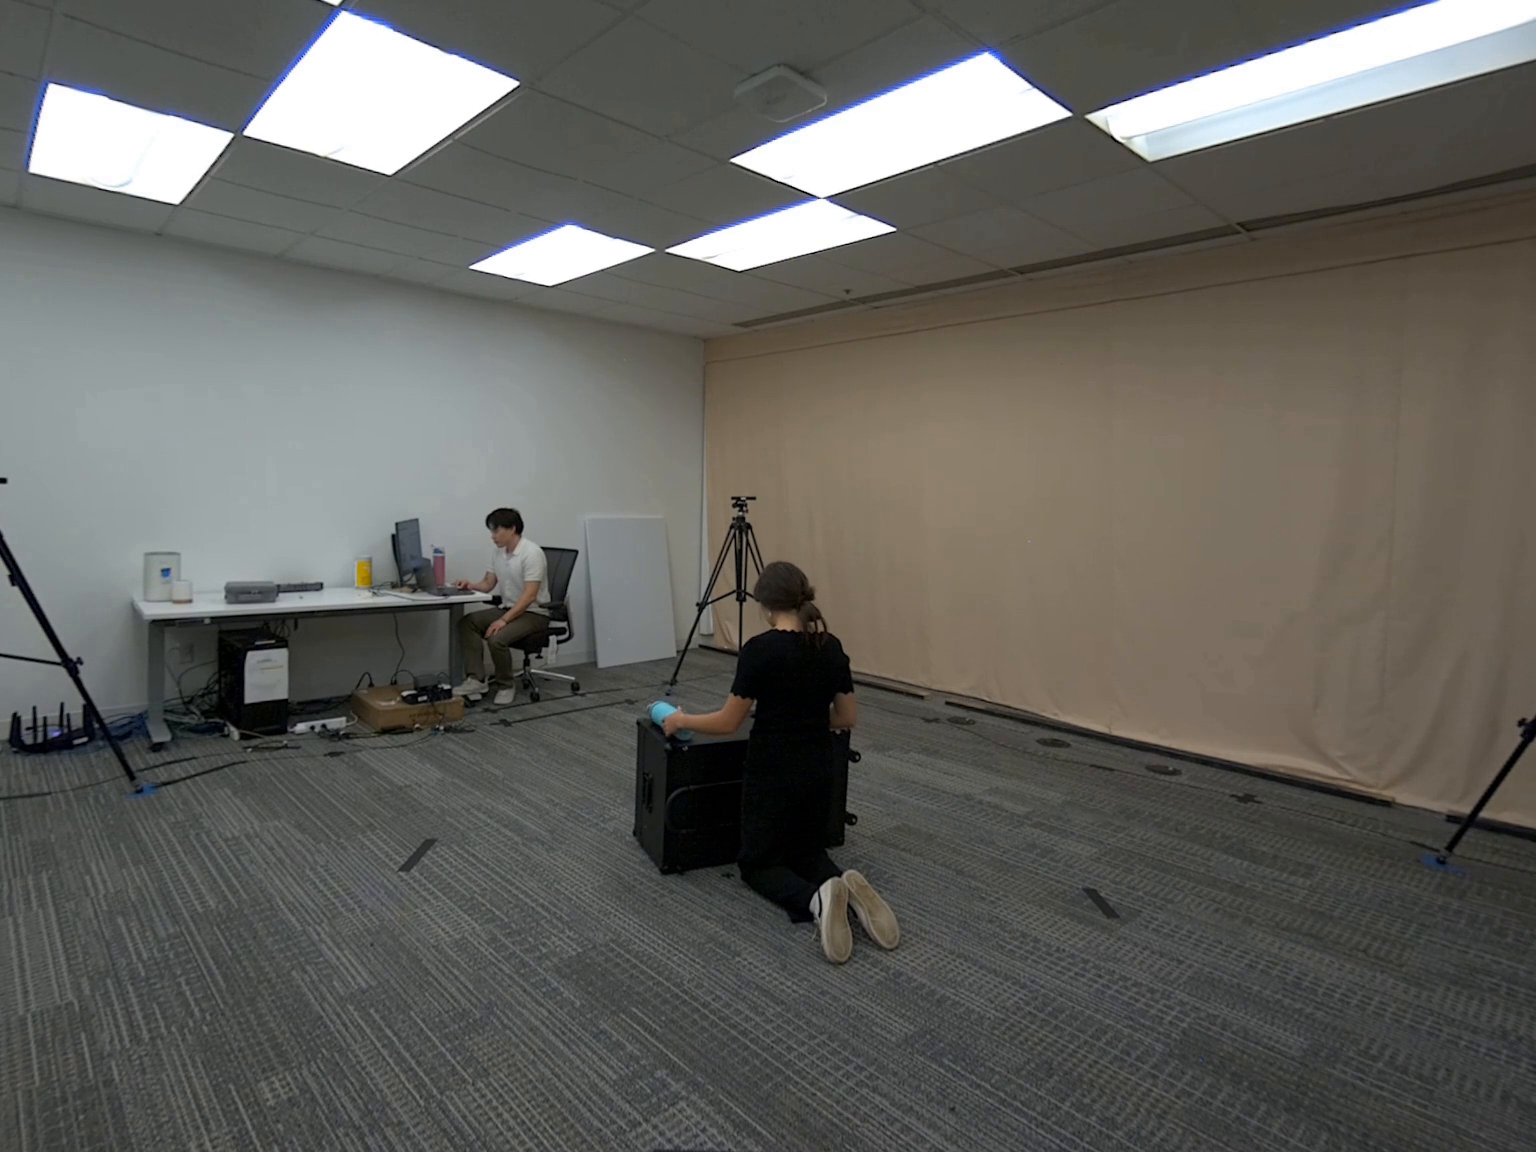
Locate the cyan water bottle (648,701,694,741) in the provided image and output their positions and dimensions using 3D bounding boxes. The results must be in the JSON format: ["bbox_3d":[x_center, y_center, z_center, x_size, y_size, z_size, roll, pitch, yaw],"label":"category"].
[{"bbox_3d":[-0.384,0.549,3.254,0.090,0.092,0.290,-1,8,-29],"label":"cyan water bottle"}]
